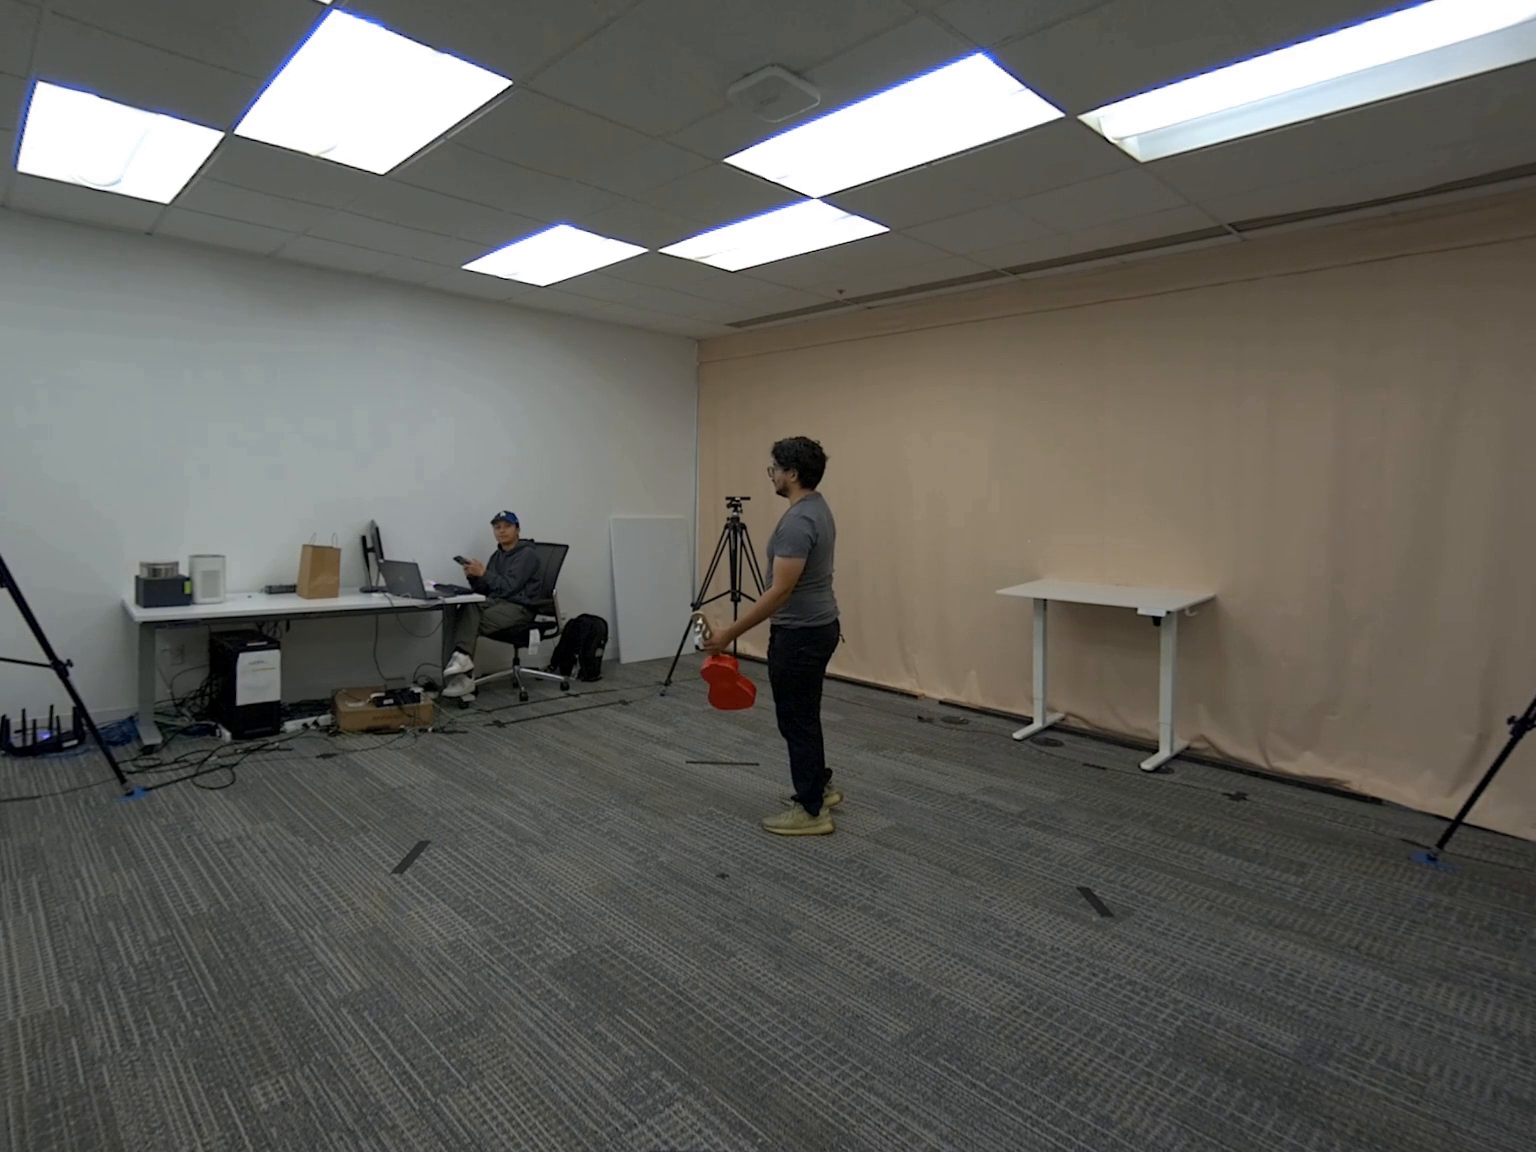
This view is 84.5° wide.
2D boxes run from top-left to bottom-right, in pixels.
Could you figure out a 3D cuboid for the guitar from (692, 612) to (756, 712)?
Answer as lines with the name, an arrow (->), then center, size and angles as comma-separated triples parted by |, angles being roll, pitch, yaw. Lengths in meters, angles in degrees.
guitar -> -0.229, 0.342, 3.322 | 0.195, 0.484, 0.072 | -15, 34, 25
